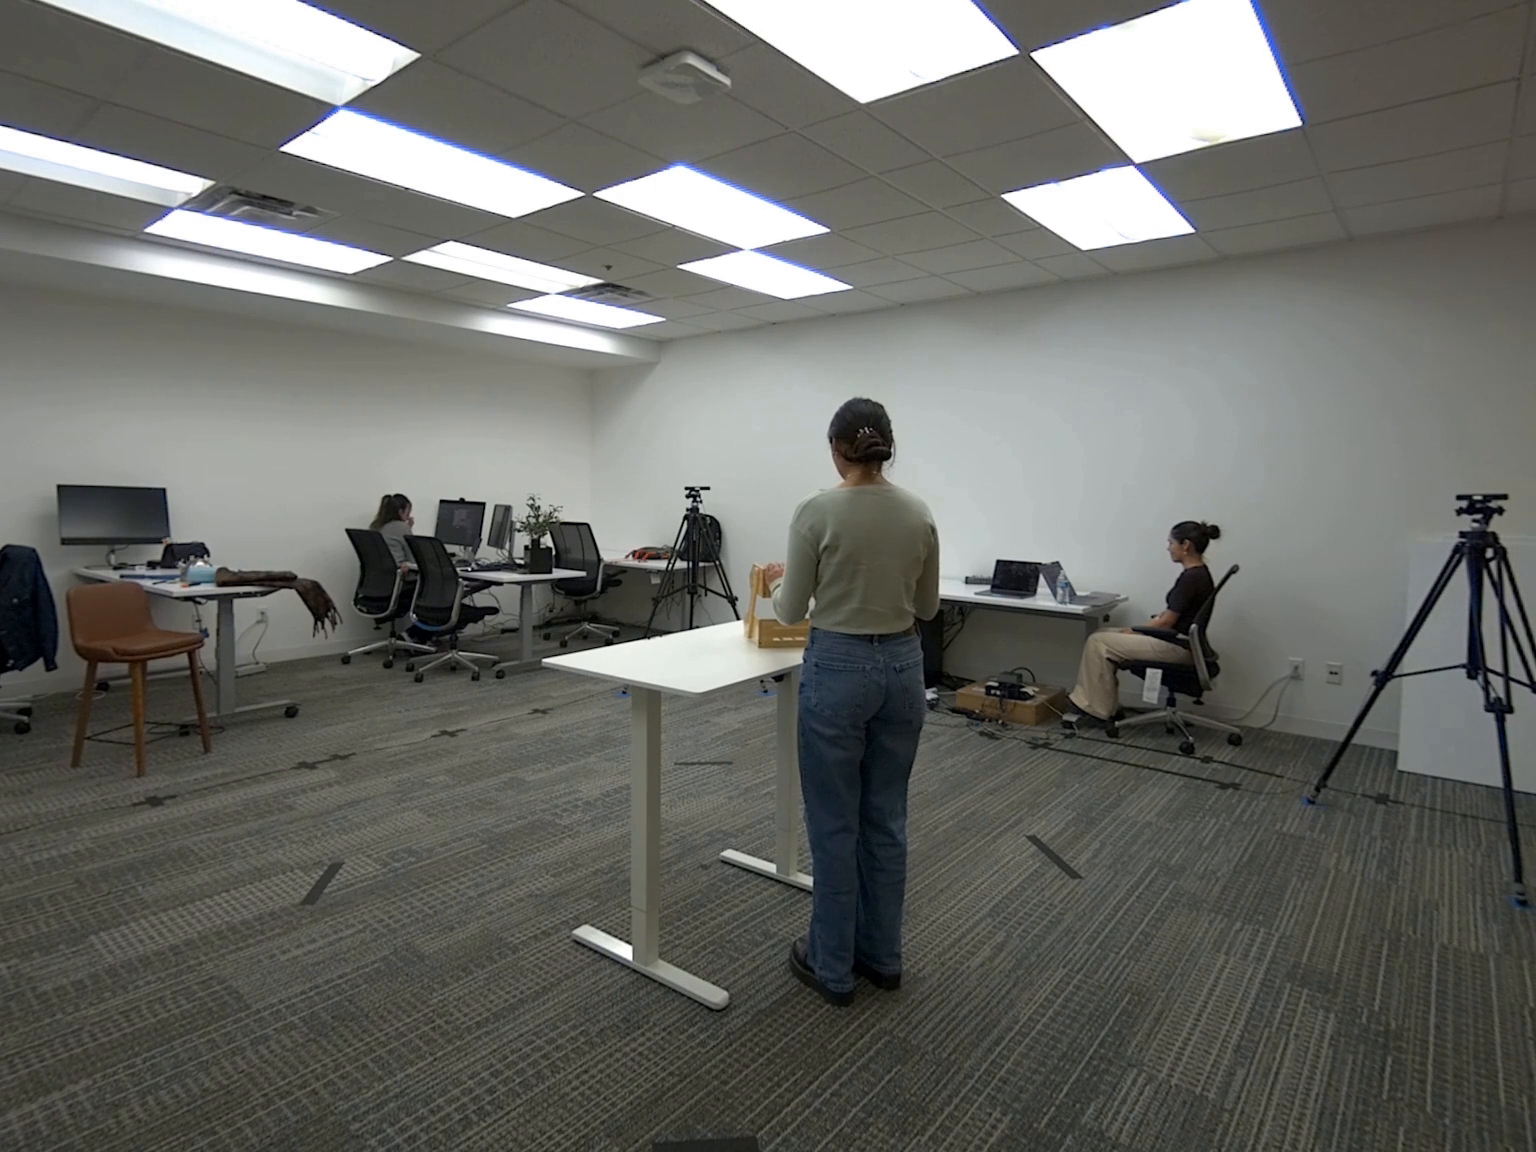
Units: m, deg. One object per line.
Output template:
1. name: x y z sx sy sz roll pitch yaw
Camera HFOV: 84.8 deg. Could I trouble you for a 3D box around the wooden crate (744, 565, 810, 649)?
1. wooden crate: 0.088 0.081 2.800 0.321 0.272 0.307 -1 5 -11
